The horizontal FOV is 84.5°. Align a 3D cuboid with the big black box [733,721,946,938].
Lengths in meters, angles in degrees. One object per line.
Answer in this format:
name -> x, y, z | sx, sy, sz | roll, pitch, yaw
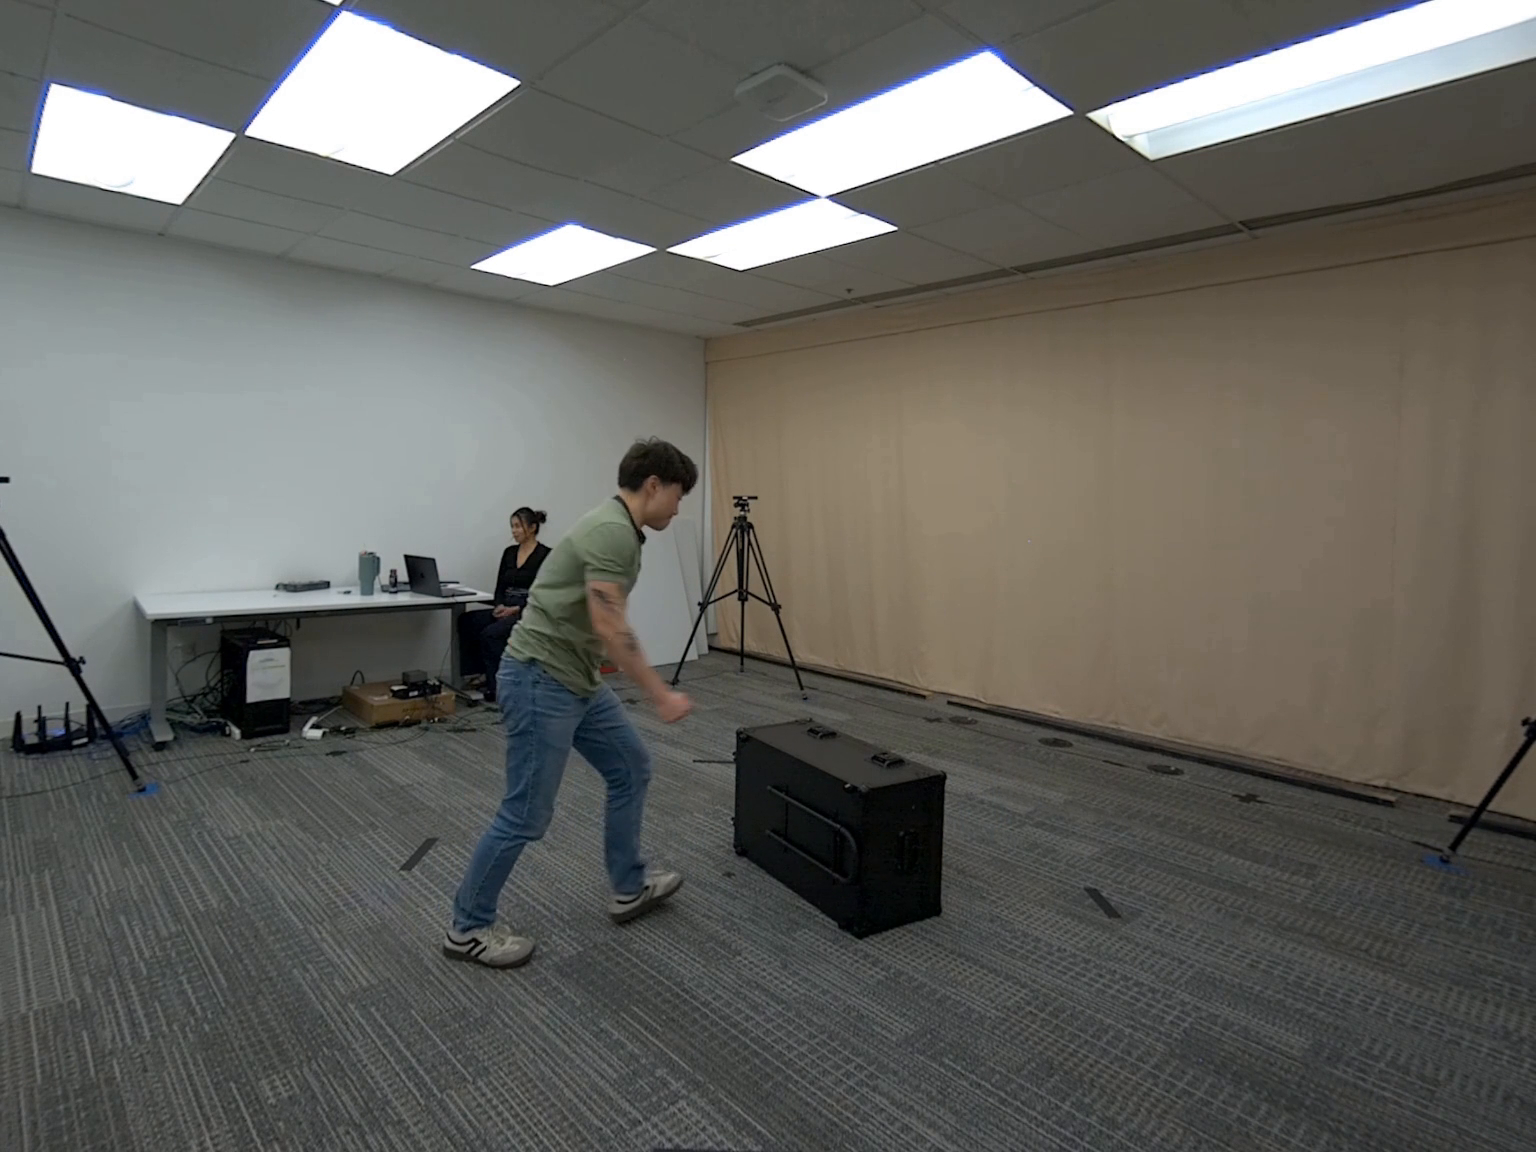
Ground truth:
big black box -> 0.197, 0.871, 3.095 | 0.388, 0.520, 0.882 | -1, 5, -31
